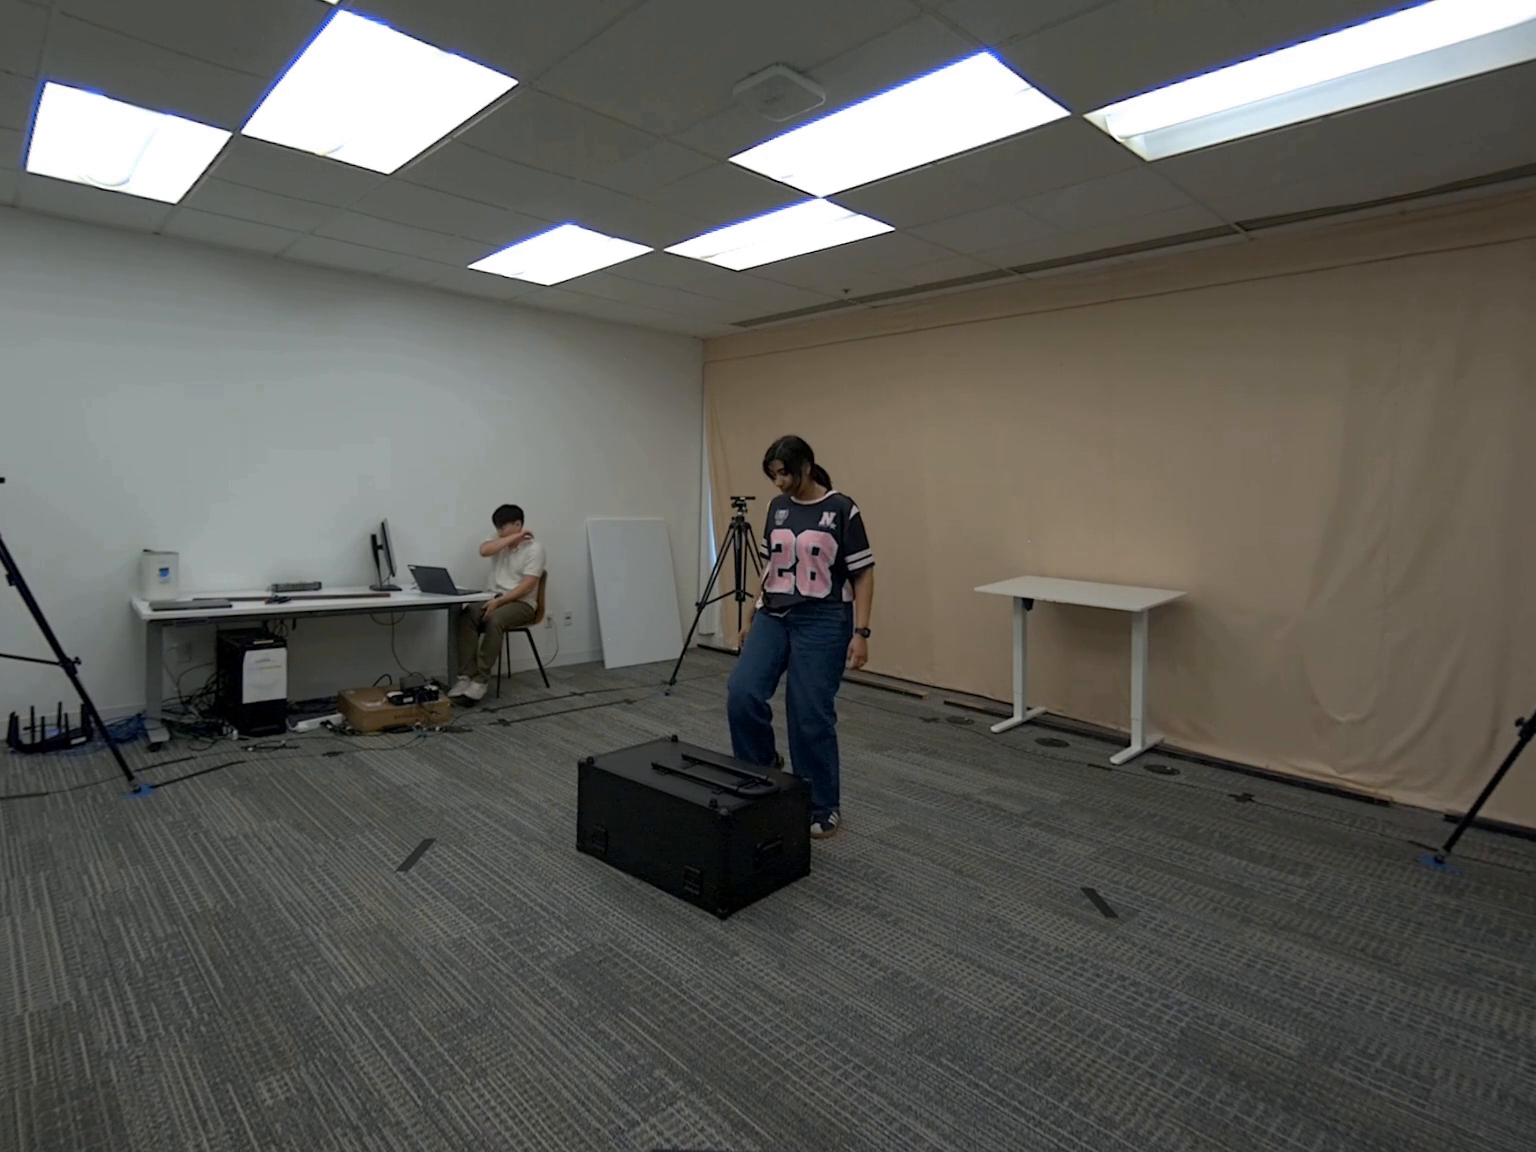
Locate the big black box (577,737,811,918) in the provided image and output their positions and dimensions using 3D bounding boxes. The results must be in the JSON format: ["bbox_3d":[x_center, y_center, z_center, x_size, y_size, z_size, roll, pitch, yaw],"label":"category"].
[{"bbox_3d":[-0.330,0.905,3.212,0.890,0.384,0.512,5,7,41],"label":"big black box"}]
